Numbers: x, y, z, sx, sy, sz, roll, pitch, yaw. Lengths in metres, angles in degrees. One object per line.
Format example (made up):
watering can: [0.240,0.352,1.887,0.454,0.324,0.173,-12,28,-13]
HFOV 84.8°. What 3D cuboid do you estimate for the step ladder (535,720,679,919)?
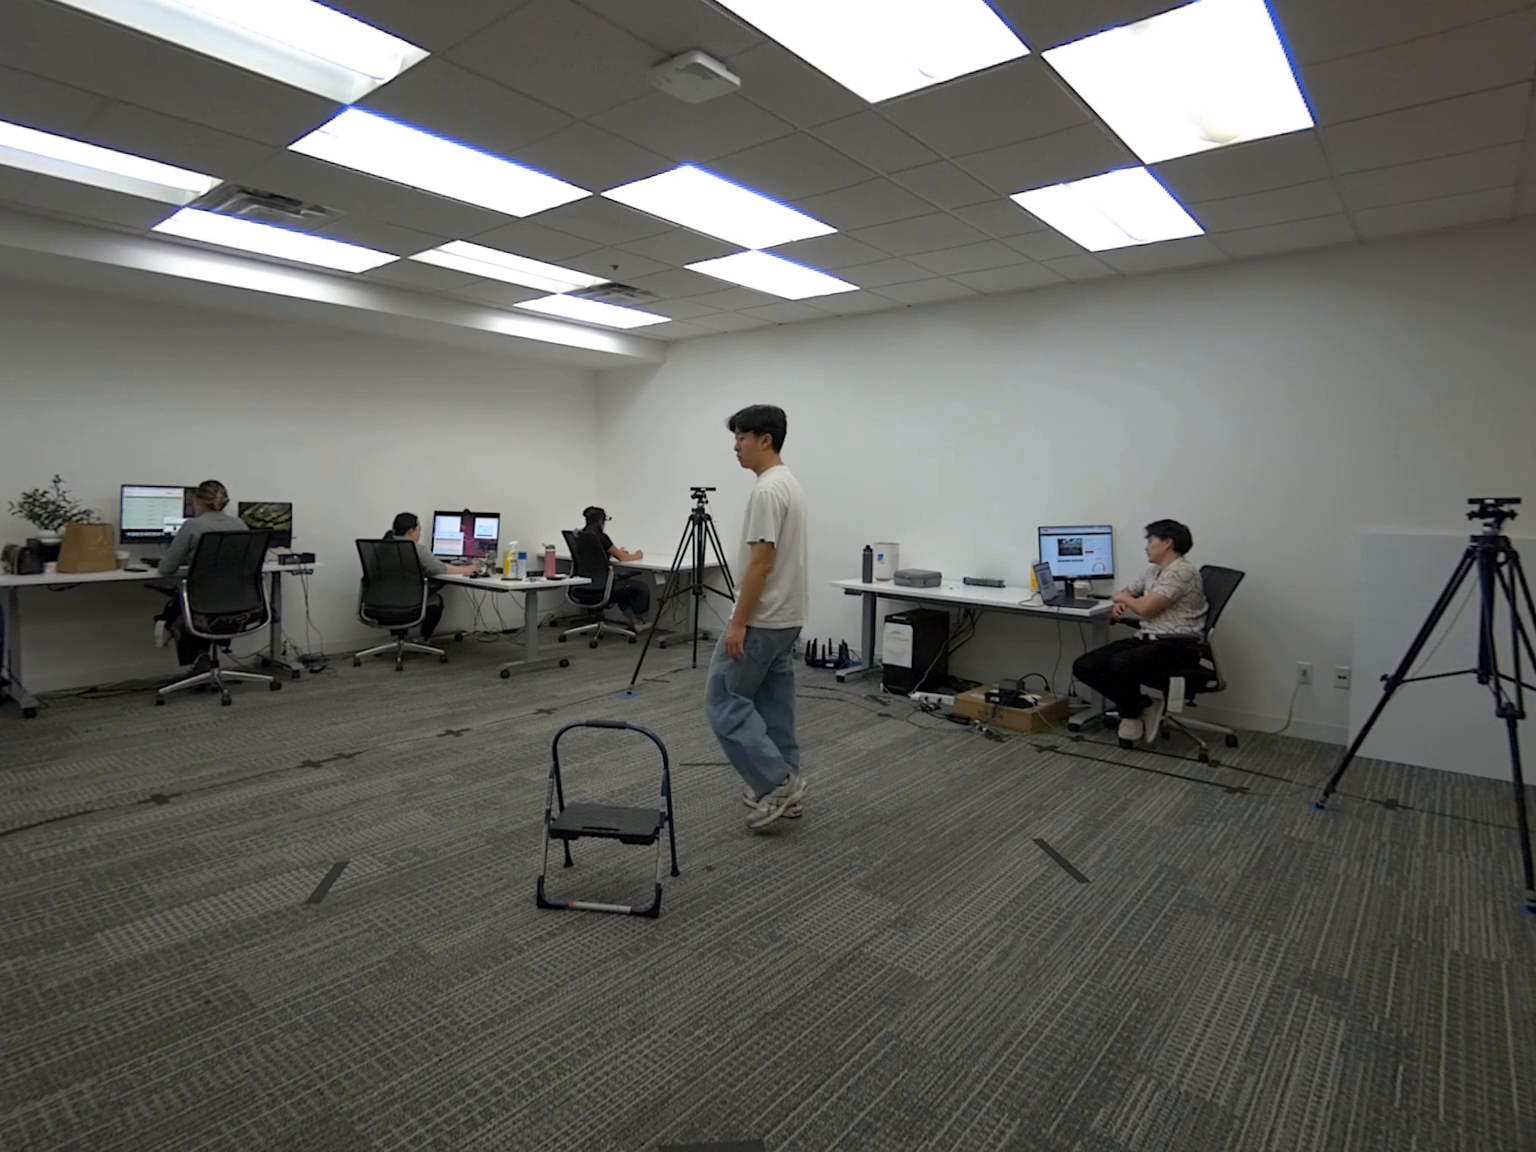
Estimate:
step ladder: [-0.552,0.776,2.911,0.434,0.604,0.348,1,3,6]
